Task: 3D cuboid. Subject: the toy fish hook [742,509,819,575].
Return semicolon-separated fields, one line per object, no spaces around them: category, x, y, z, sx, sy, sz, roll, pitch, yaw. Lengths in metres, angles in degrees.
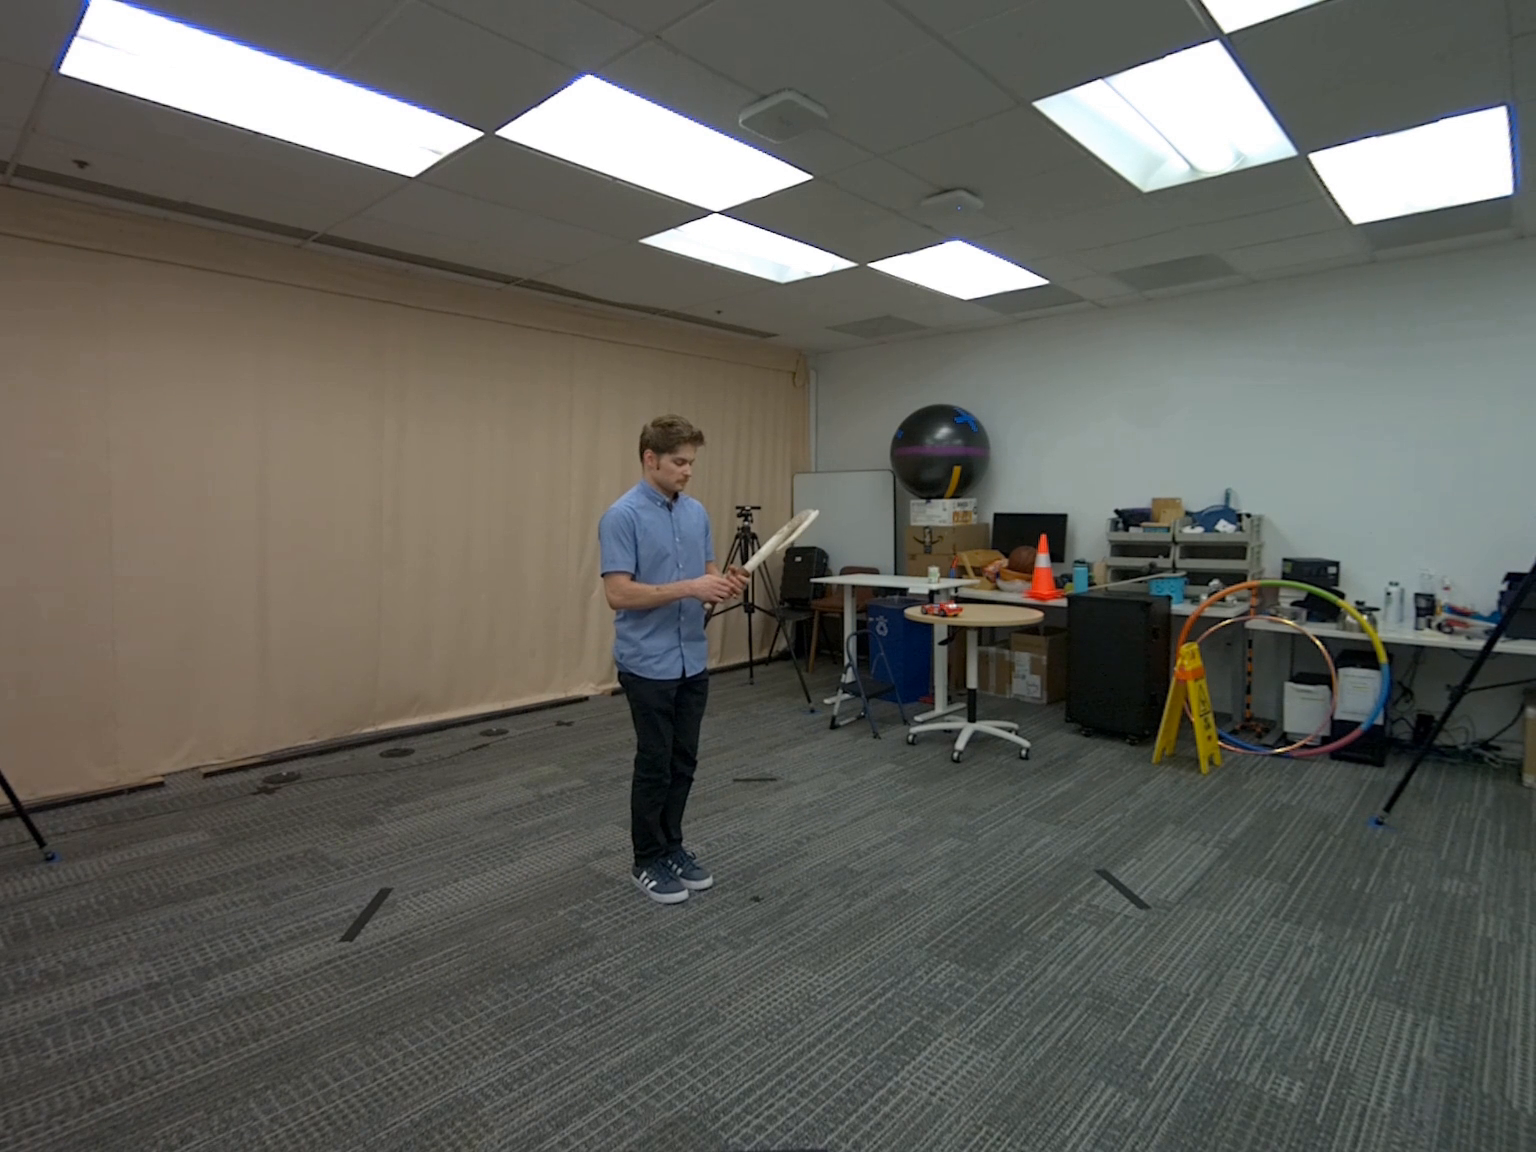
toy fish hook;-0.019;-0.053;2.847;0.507;0.048;0.226;-44;8;5
